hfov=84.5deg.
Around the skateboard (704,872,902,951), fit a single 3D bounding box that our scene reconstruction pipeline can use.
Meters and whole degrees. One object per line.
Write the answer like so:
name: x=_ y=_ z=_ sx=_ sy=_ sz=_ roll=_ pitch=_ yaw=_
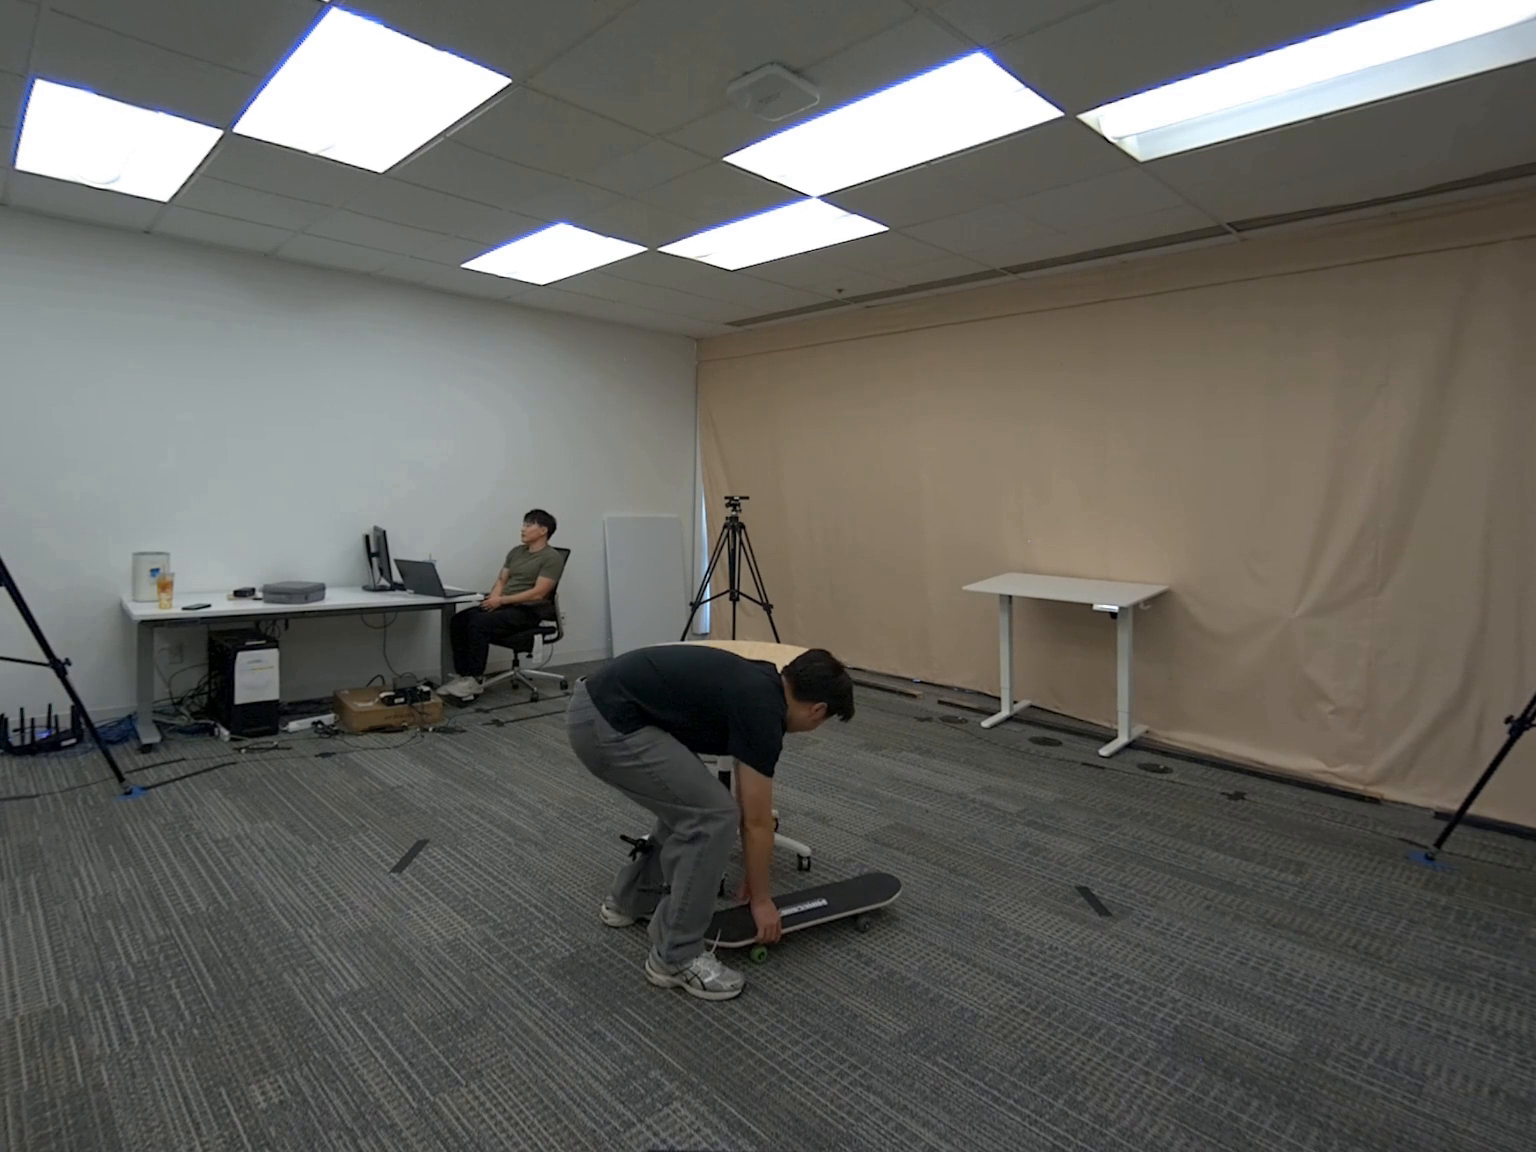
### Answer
skateboard: x=0.098 y=1.087 z=2.689 sx=0.770 sy=0.110 sz=0.198 roll=-1 pitch=7 yaw=-29
